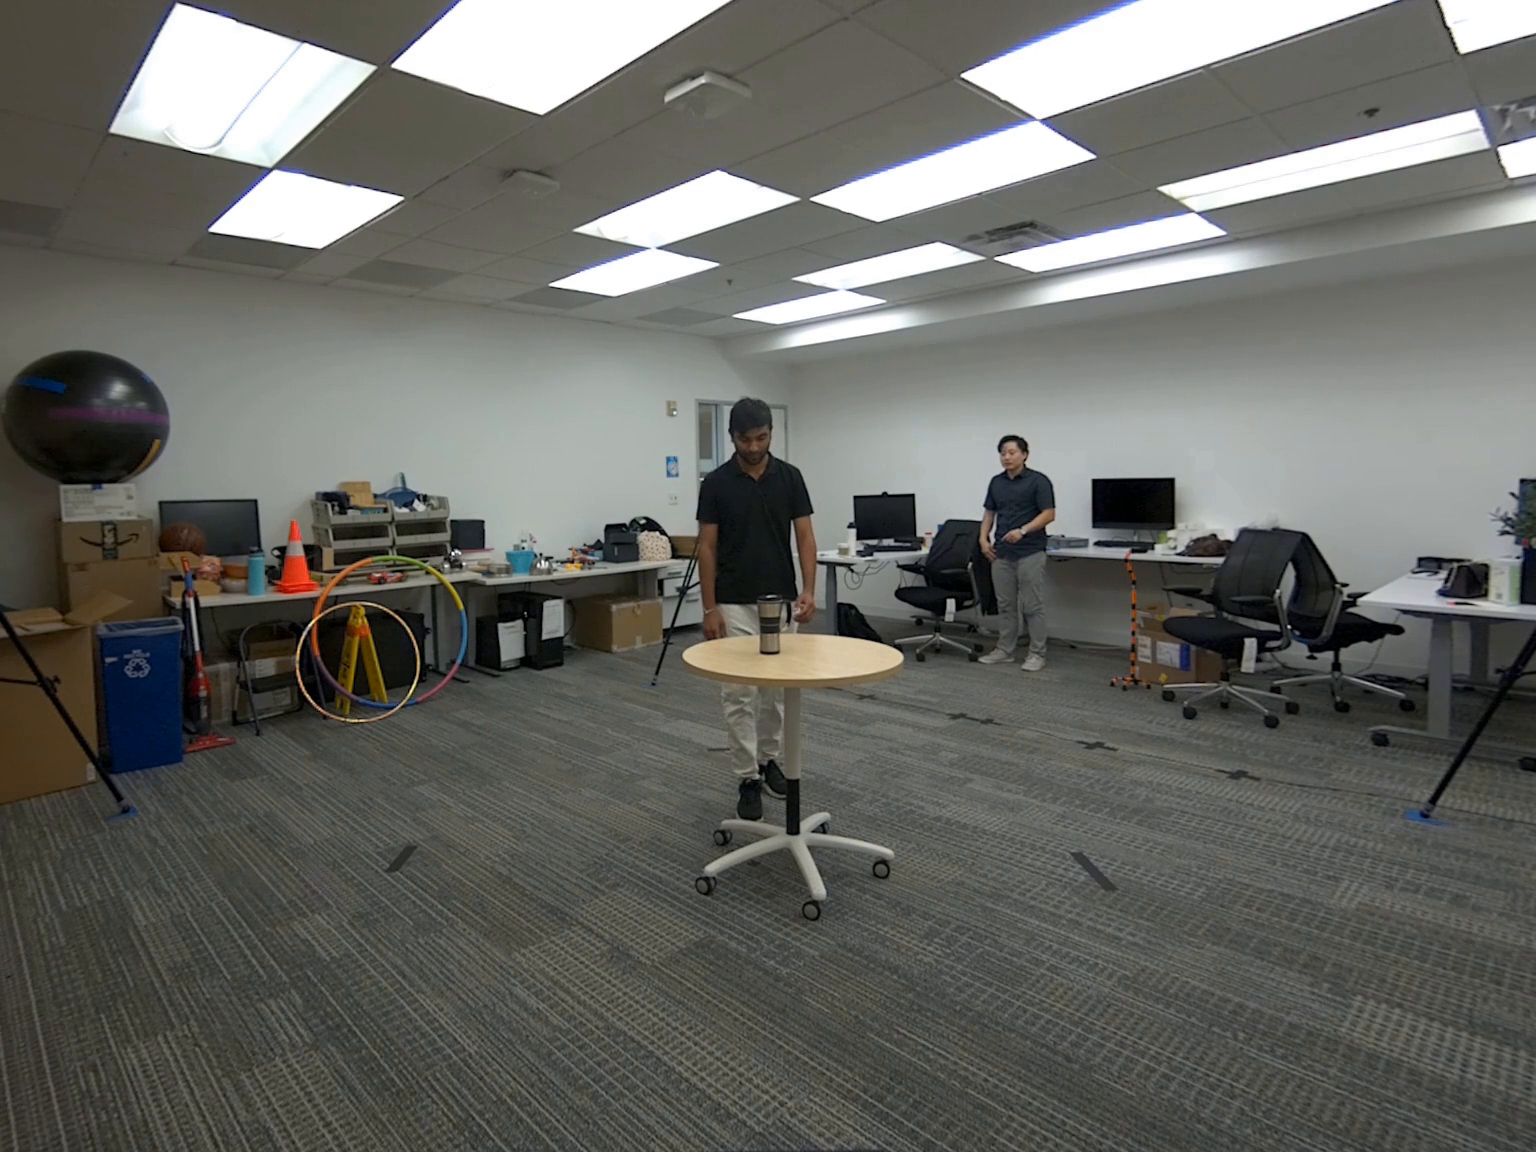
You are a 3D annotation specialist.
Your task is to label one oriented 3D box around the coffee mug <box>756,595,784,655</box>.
[{"bbox_3d":[0.023,0.177,2.983,0.085,0.203,0.125,3,-2,-40],"label":"coffee mug"}]
